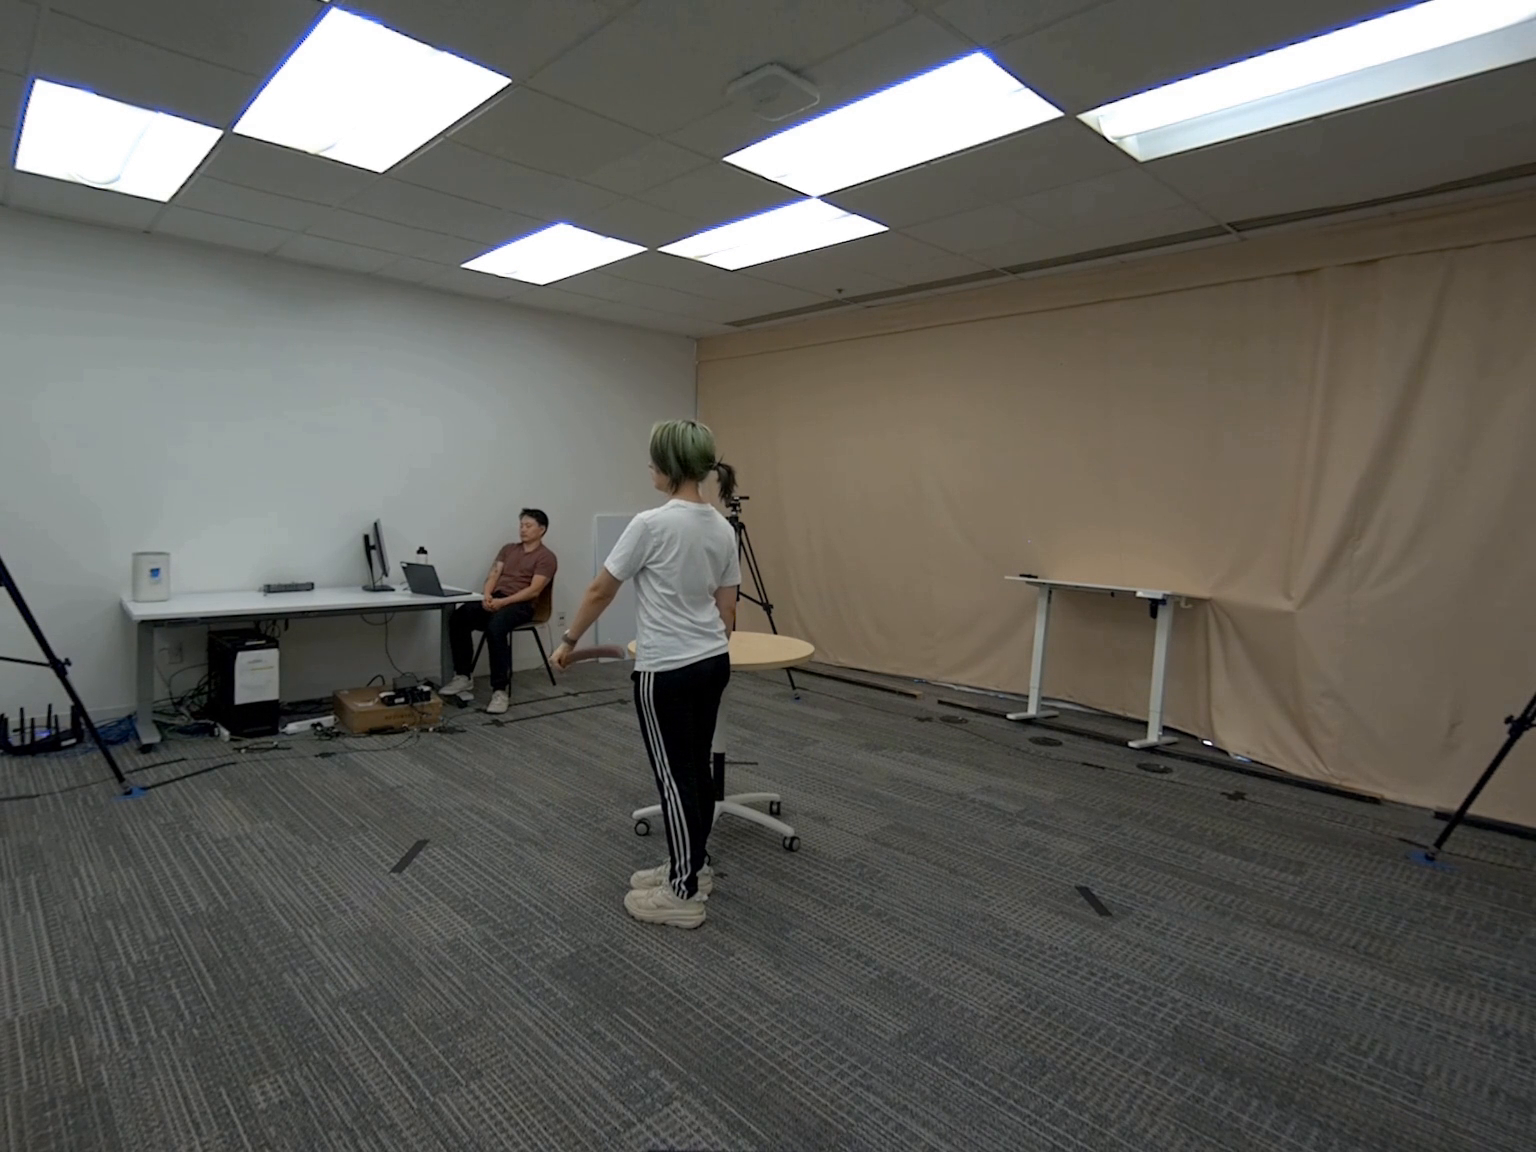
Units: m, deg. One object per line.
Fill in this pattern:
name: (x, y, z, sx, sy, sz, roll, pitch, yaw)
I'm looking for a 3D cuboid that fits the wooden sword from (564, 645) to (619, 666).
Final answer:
wooden sword: (-0.557, 0.252, 2.430, 0.024, 0.051, 1.033, 10, -10, -19)
